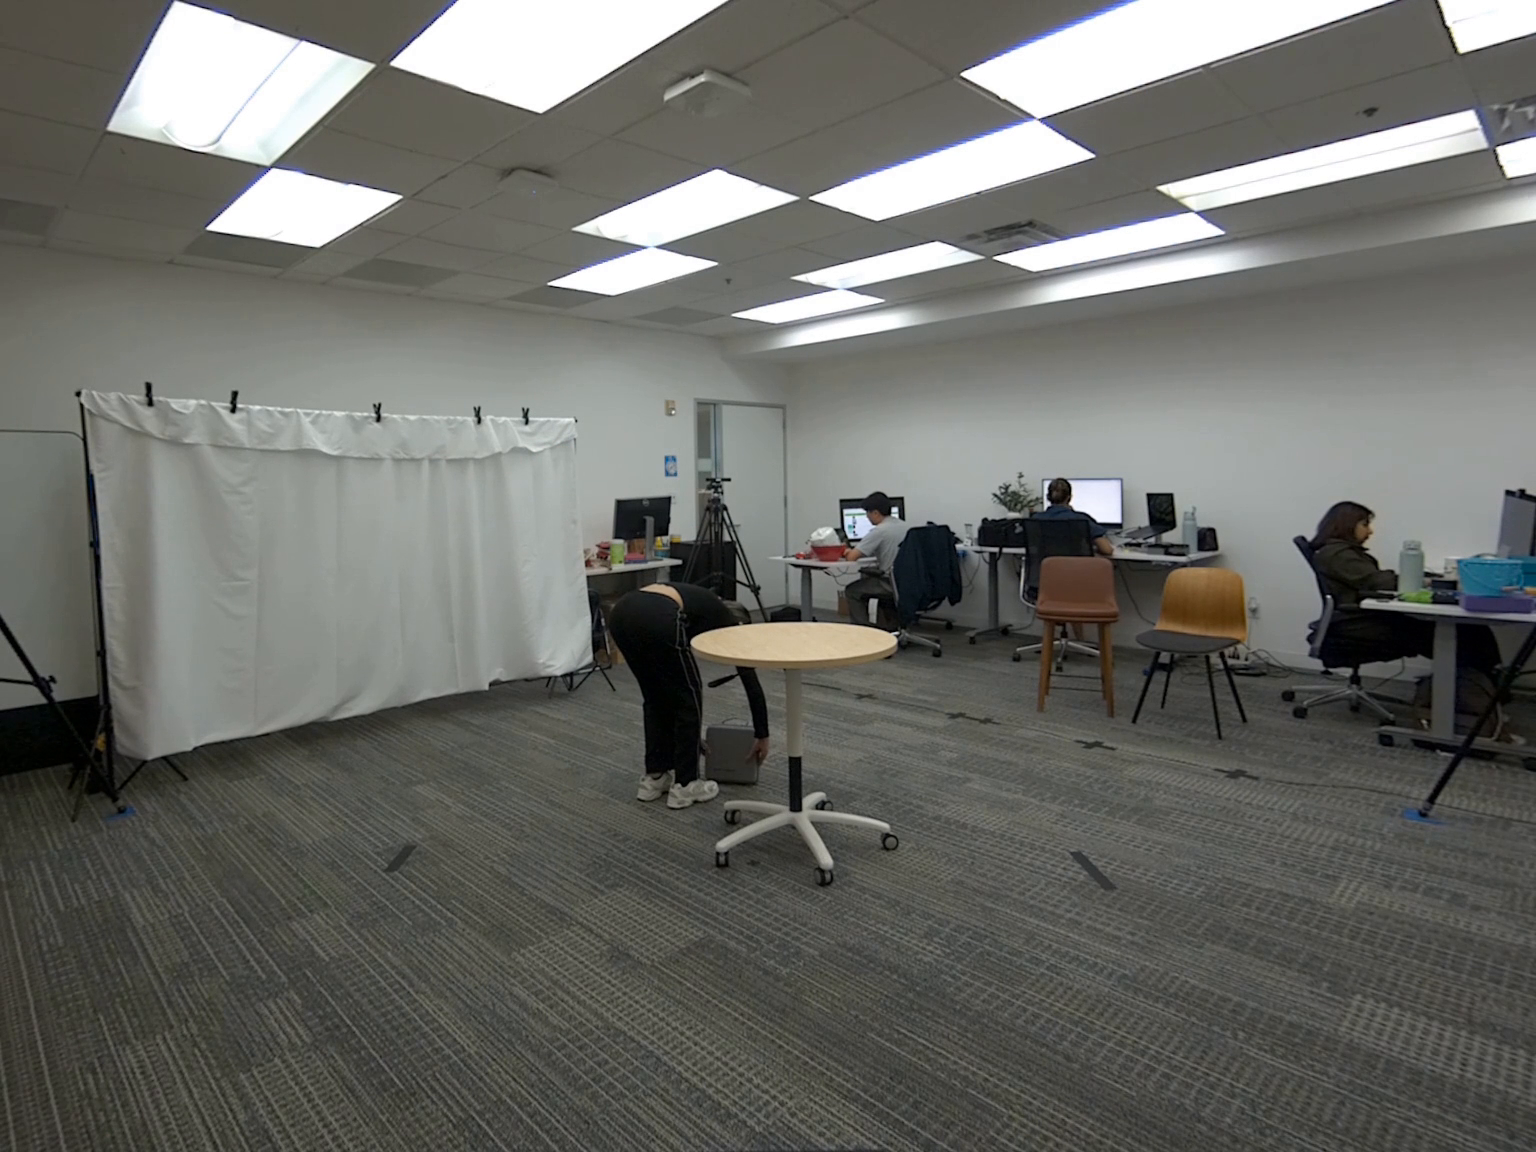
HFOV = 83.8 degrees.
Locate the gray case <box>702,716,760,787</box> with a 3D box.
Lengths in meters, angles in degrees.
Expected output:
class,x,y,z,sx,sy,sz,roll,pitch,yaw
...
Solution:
class,x,y,z,sx,sy,sz,roll,pitch,yaw
gray case,-0.169,0.813,3.963,0.260,0.262,0.102,0,-5,14
